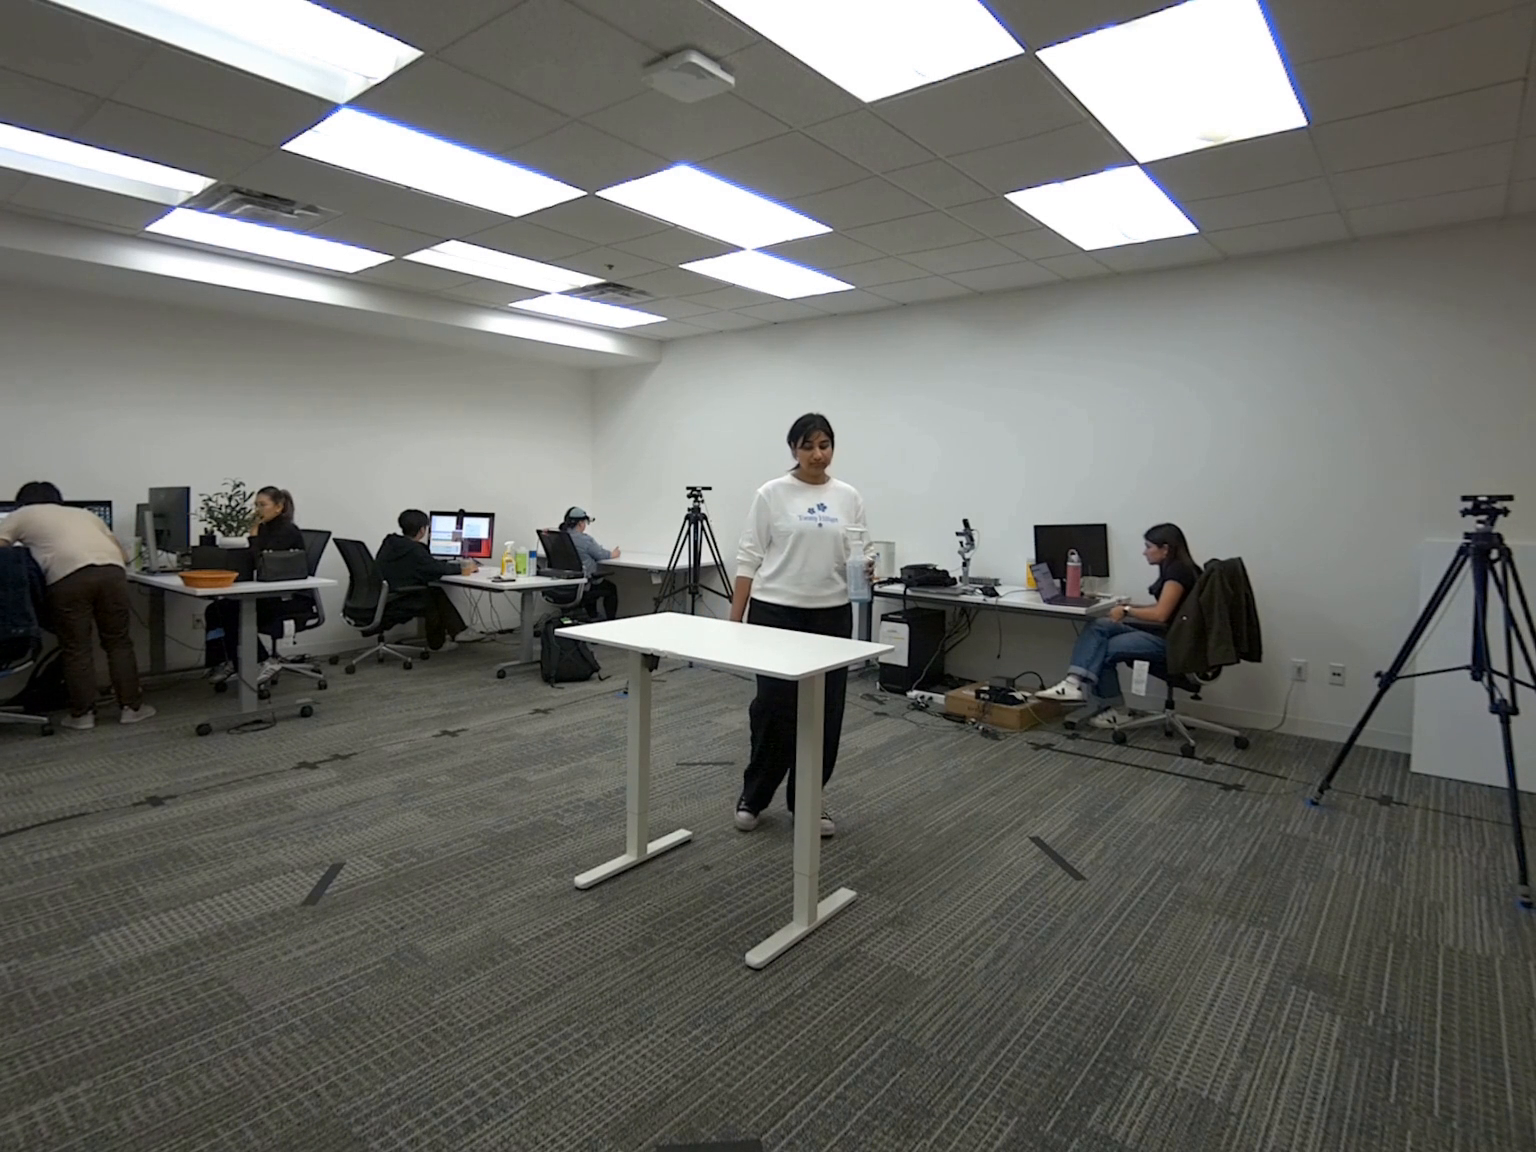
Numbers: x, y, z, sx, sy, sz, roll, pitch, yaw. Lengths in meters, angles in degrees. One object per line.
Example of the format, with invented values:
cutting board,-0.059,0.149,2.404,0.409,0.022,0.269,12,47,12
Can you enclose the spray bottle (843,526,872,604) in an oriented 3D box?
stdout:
spray bottle,0.330,-0.048,3.242,0.092,0.299,0.084,-6,-5,38
